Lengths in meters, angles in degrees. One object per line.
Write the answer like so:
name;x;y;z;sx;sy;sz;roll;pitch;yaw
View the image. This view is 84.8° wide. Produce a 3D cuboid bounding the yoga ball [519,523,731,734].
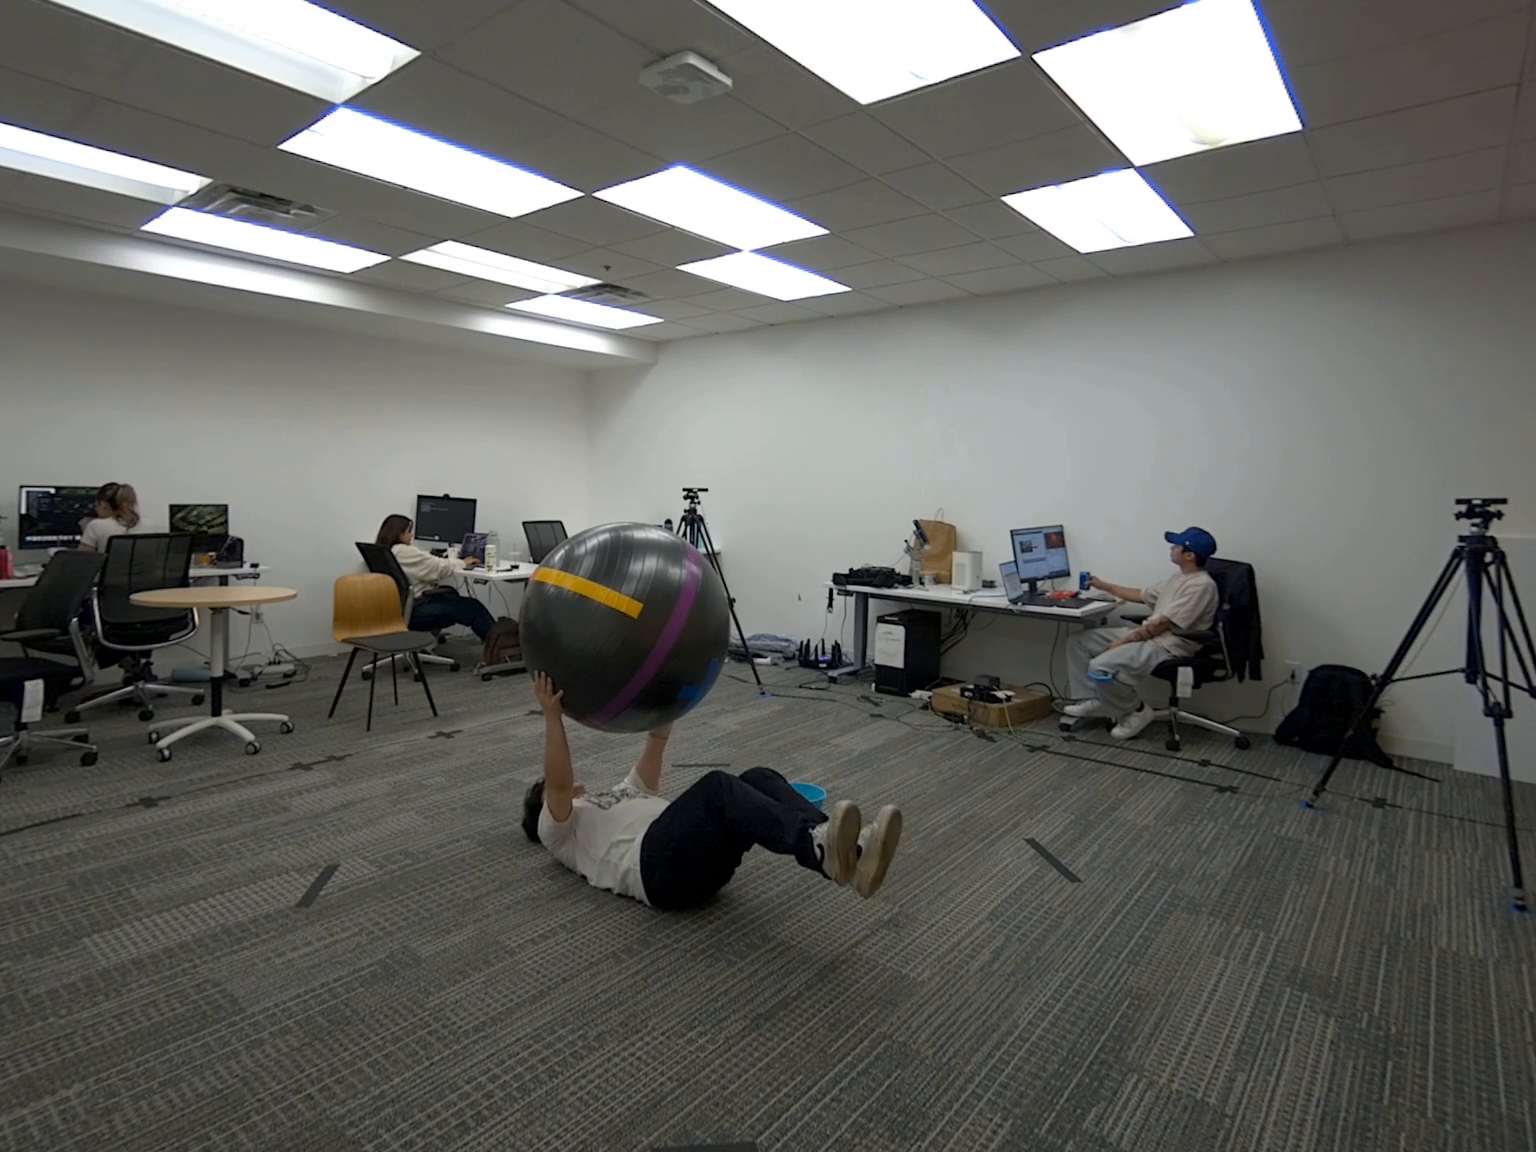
yoga ball;-0.526;0.188;3.075;0.757;0.756;0.761;1;4;-2
